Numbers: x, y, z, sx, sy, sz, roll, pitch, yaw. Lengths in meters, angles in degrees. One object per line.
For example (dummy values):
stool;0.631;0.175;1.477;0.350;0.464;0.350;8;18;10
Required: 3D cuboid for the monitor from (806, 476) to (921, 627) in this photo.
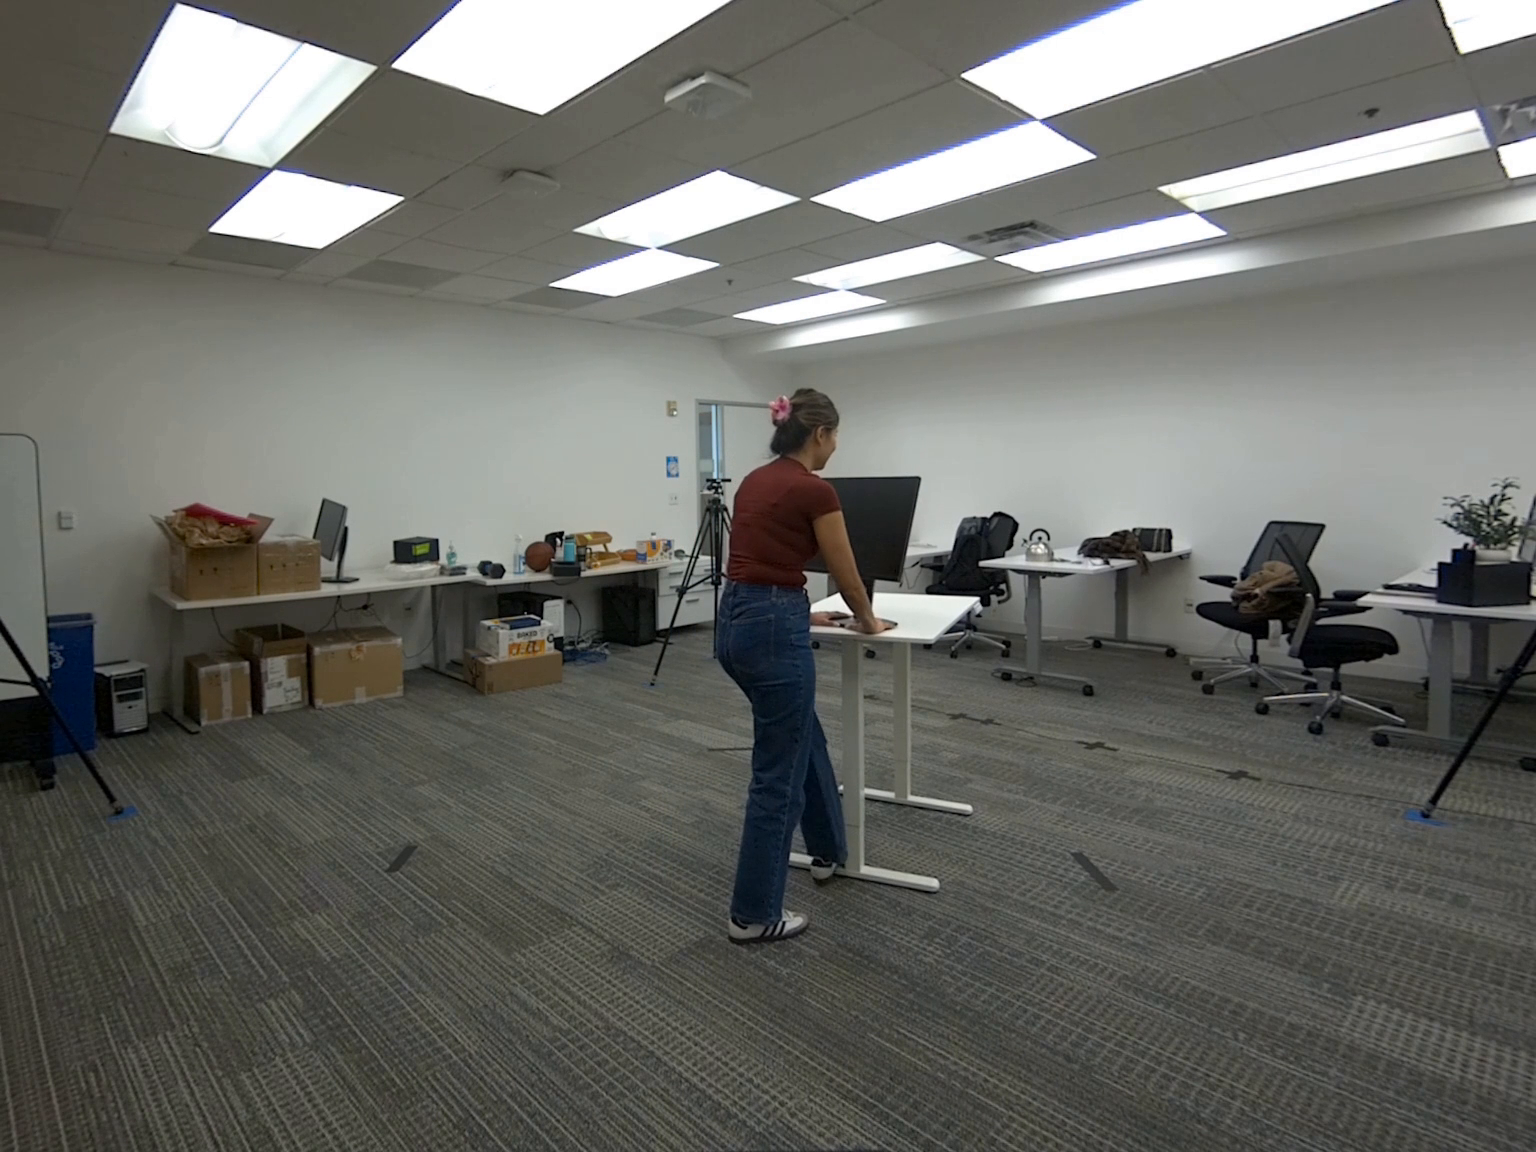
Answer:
monitor;0.323;-0.082;2.987;0.182;0.521;0.556;1;3;-38
